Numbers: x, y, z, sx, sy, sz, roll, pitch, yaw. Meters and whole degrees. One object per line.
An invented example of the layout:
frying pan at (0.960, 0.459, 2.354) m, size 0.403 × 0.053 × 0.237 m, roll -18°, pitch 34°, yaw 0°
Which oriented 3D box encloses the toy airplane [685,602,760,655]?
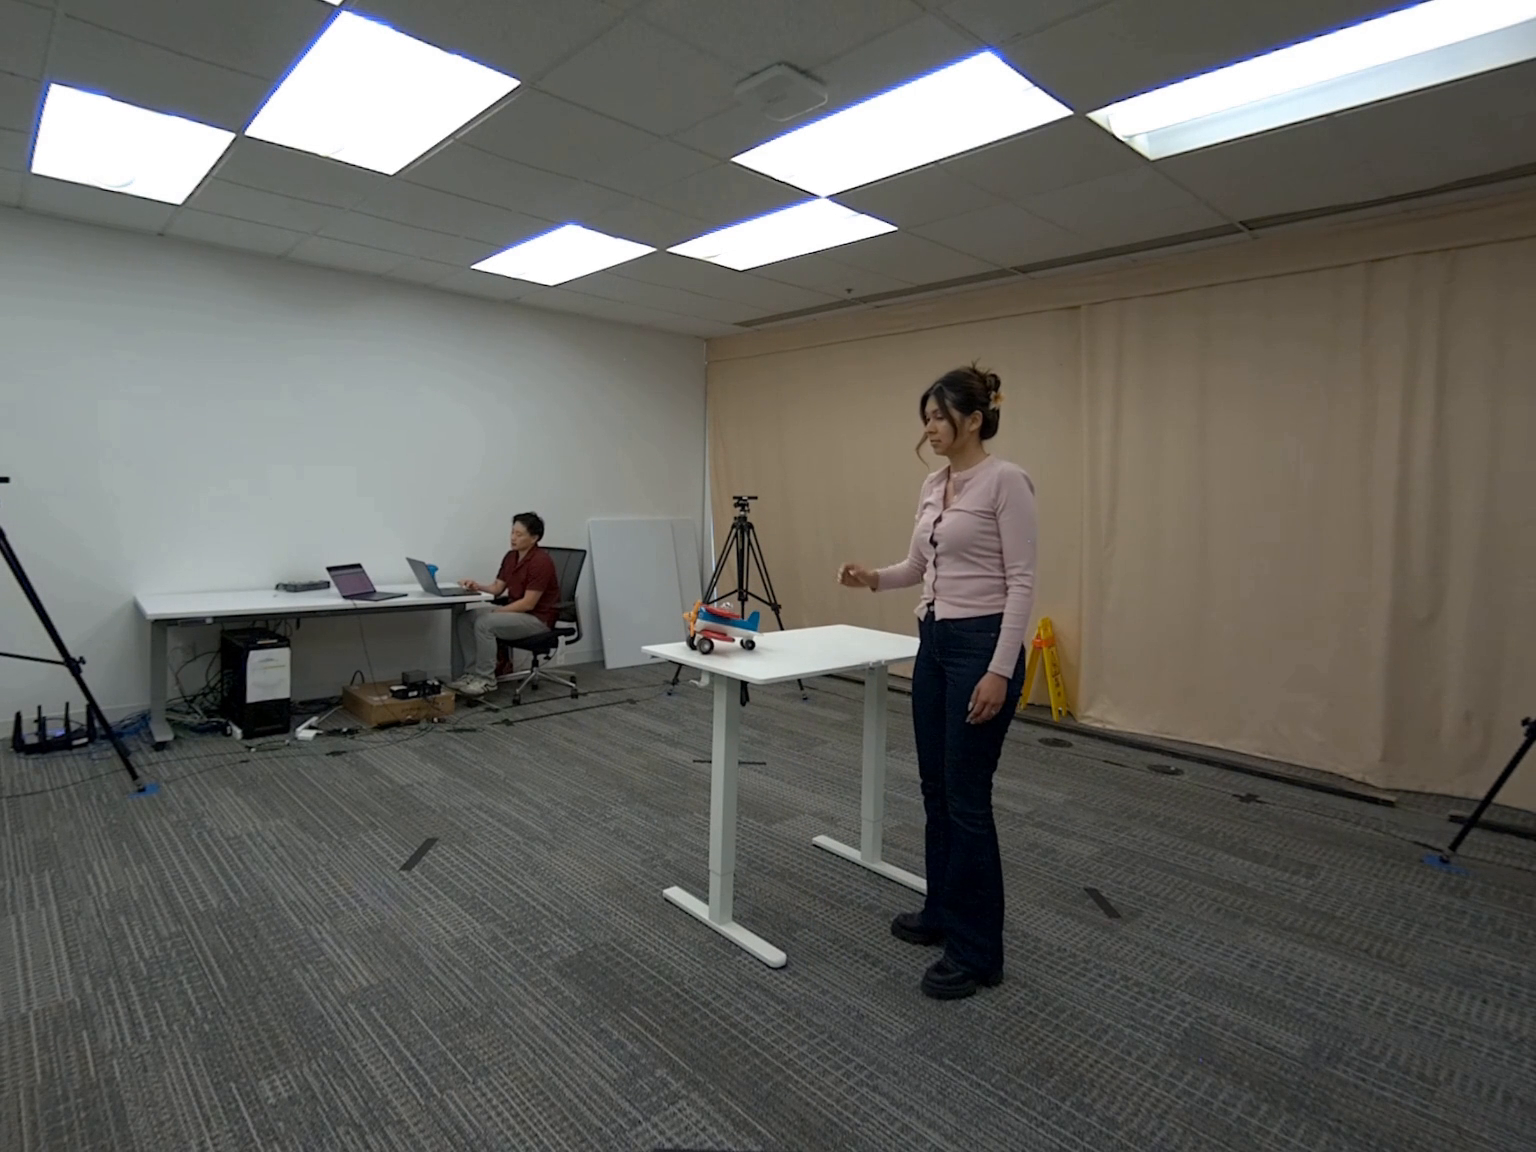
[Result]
toy airplane at (-0.173, 0.169, 2.797) m, size 0.257 × 0.156 × 0.254 m, roll 6°, pitch 7°, yaw 34°
